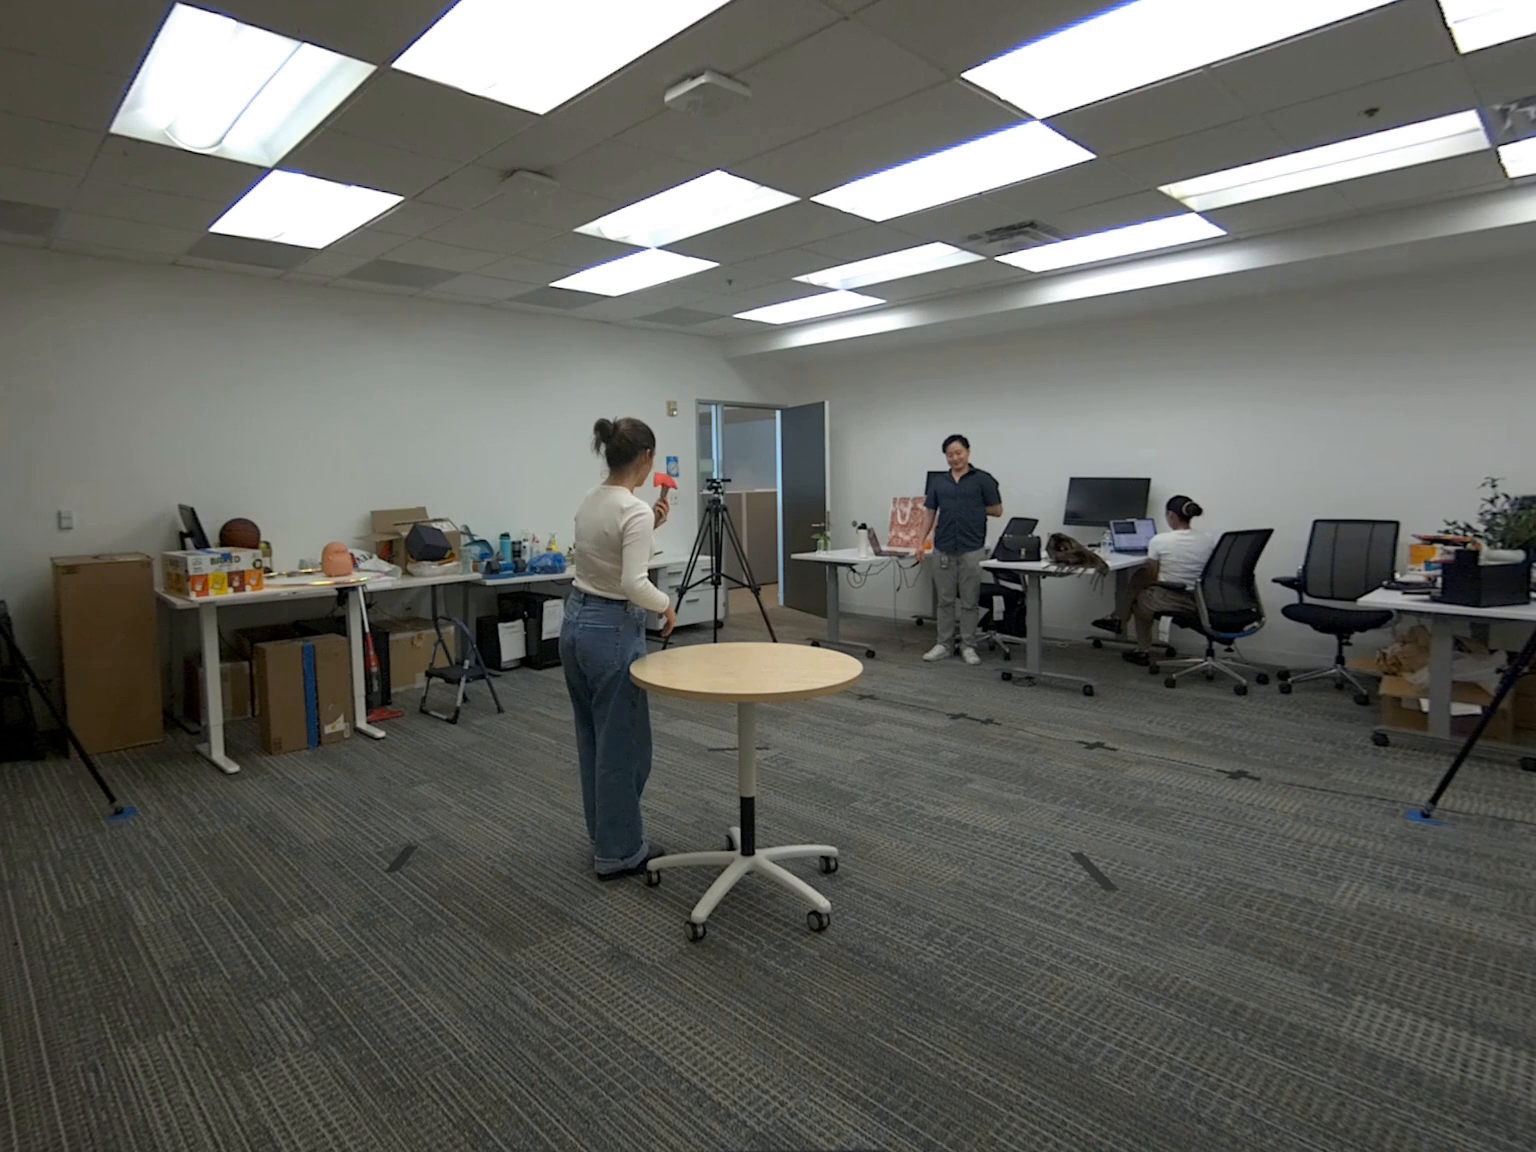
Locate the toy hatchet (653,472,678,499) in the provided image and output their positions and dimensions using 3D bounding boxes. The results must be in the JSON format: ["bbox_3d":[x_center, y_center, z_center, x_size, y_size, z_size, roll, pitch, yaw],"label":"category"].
[{"bbox_3d":[-0.433,-0.296,3.287,0.030,0.126,0.273,-5,45,33],"label":"toy hatchet"}]
